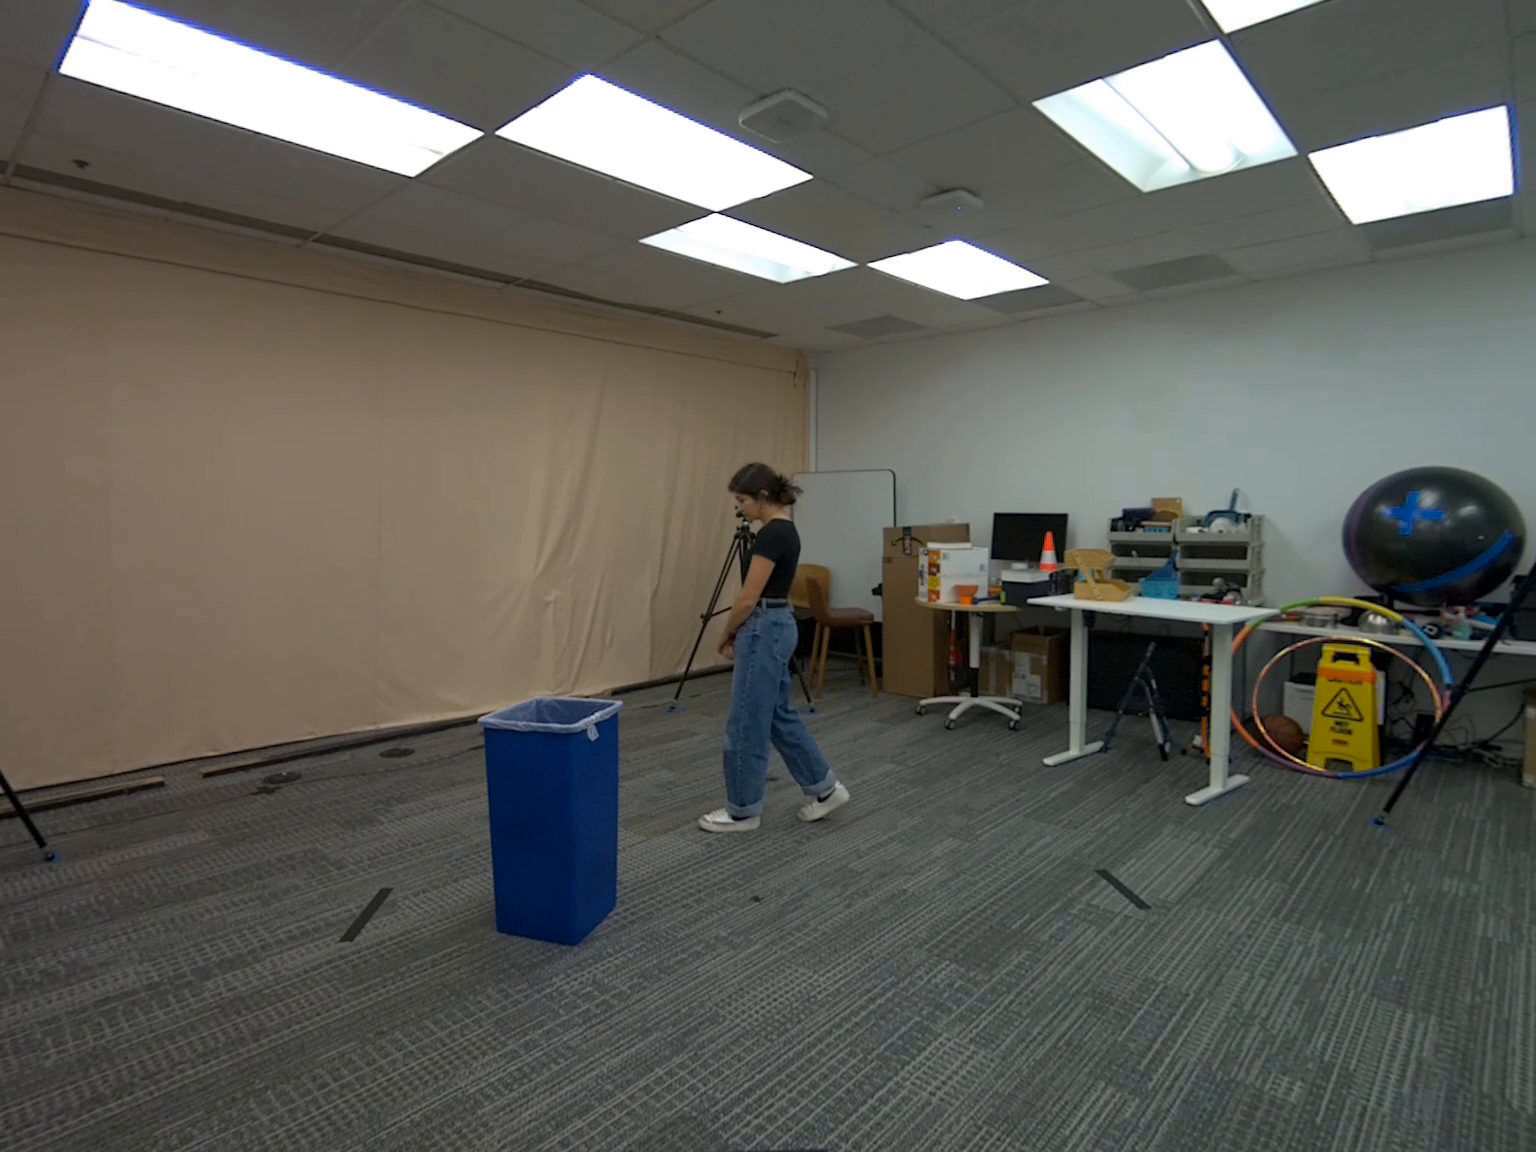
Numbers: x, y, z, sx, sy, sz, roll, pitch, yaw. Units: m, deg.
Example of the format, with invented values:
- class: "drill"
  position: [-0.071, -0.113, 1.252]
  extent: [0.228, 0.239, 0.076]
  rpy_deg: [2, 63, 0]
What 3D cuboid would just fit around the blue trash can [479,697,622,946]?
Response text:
- class: "blue trash can"
  position: [-0.723, 0.805, 2.838]
  extent: [0.381, 0.712, 0.371]
  rpy_deg: [1, 3, 18]
